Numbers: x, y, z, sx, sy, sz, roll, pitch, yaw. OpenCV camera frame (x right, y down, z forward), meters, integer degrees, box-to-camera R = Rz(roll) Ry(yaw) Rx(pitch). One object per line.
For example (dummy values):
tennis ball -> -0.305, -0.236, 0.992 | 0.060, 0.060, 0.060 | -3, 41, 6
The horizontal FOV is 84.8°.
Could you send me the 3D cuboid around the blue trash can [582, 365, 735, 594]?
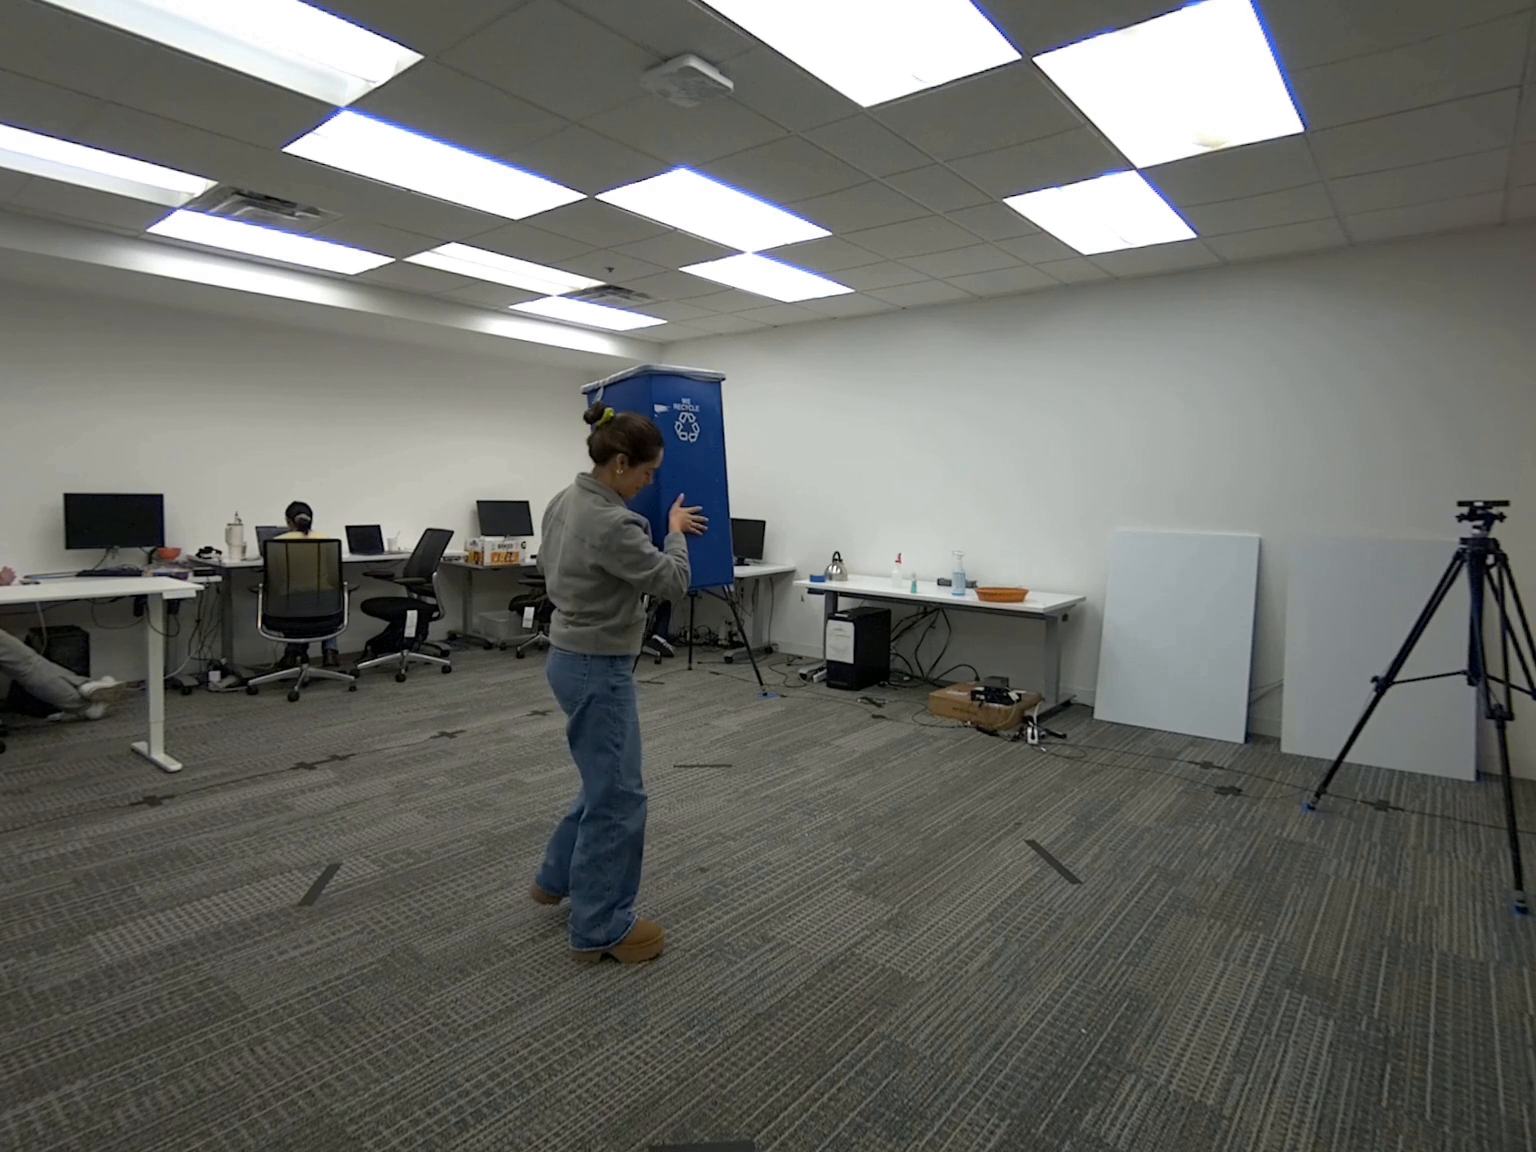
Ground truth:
blue trash can -> -0.362, -0.315, 2.871 | 0.389, 0.714, 0.363 | -6, 0, 43
